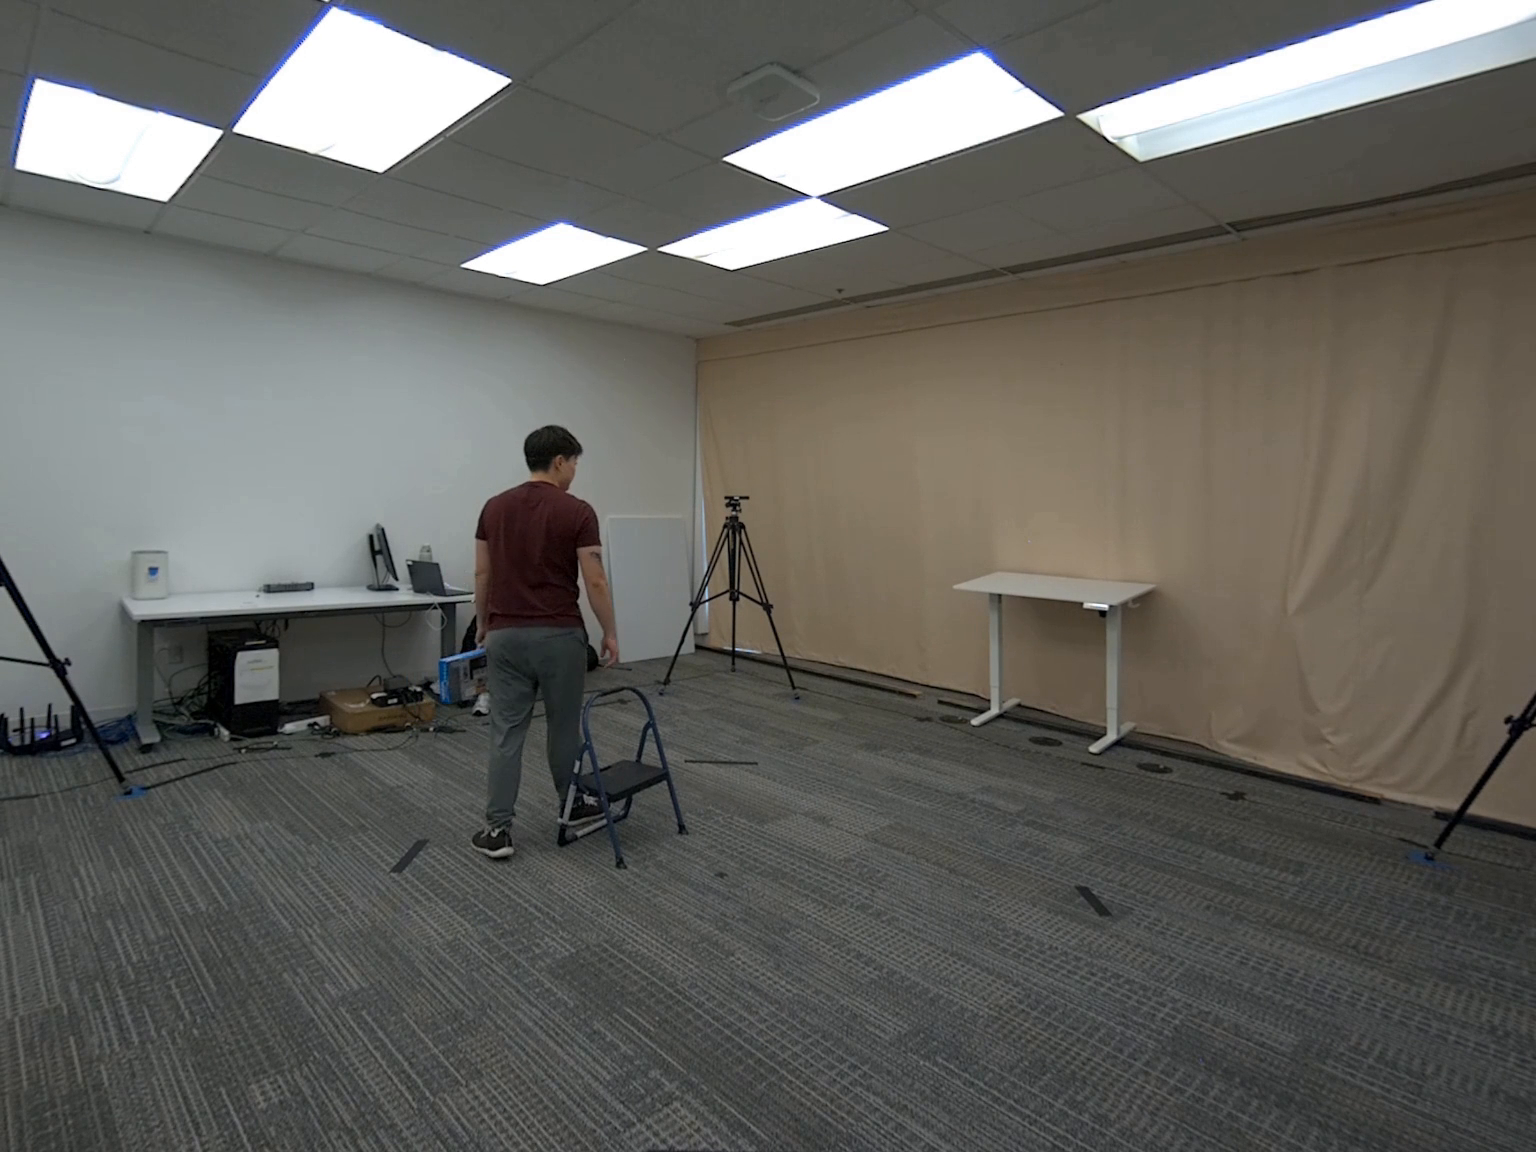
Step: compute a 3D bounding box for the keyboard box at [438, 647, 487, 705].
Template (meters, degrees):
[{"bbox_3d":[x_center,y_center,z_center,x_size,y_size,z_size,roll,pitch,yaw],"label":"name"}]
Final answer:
[{"bbox_3d":[-1.176,0.388,3.537,0.060,0.175,0.430,3,9,30],"label":"keyboard box"}]
